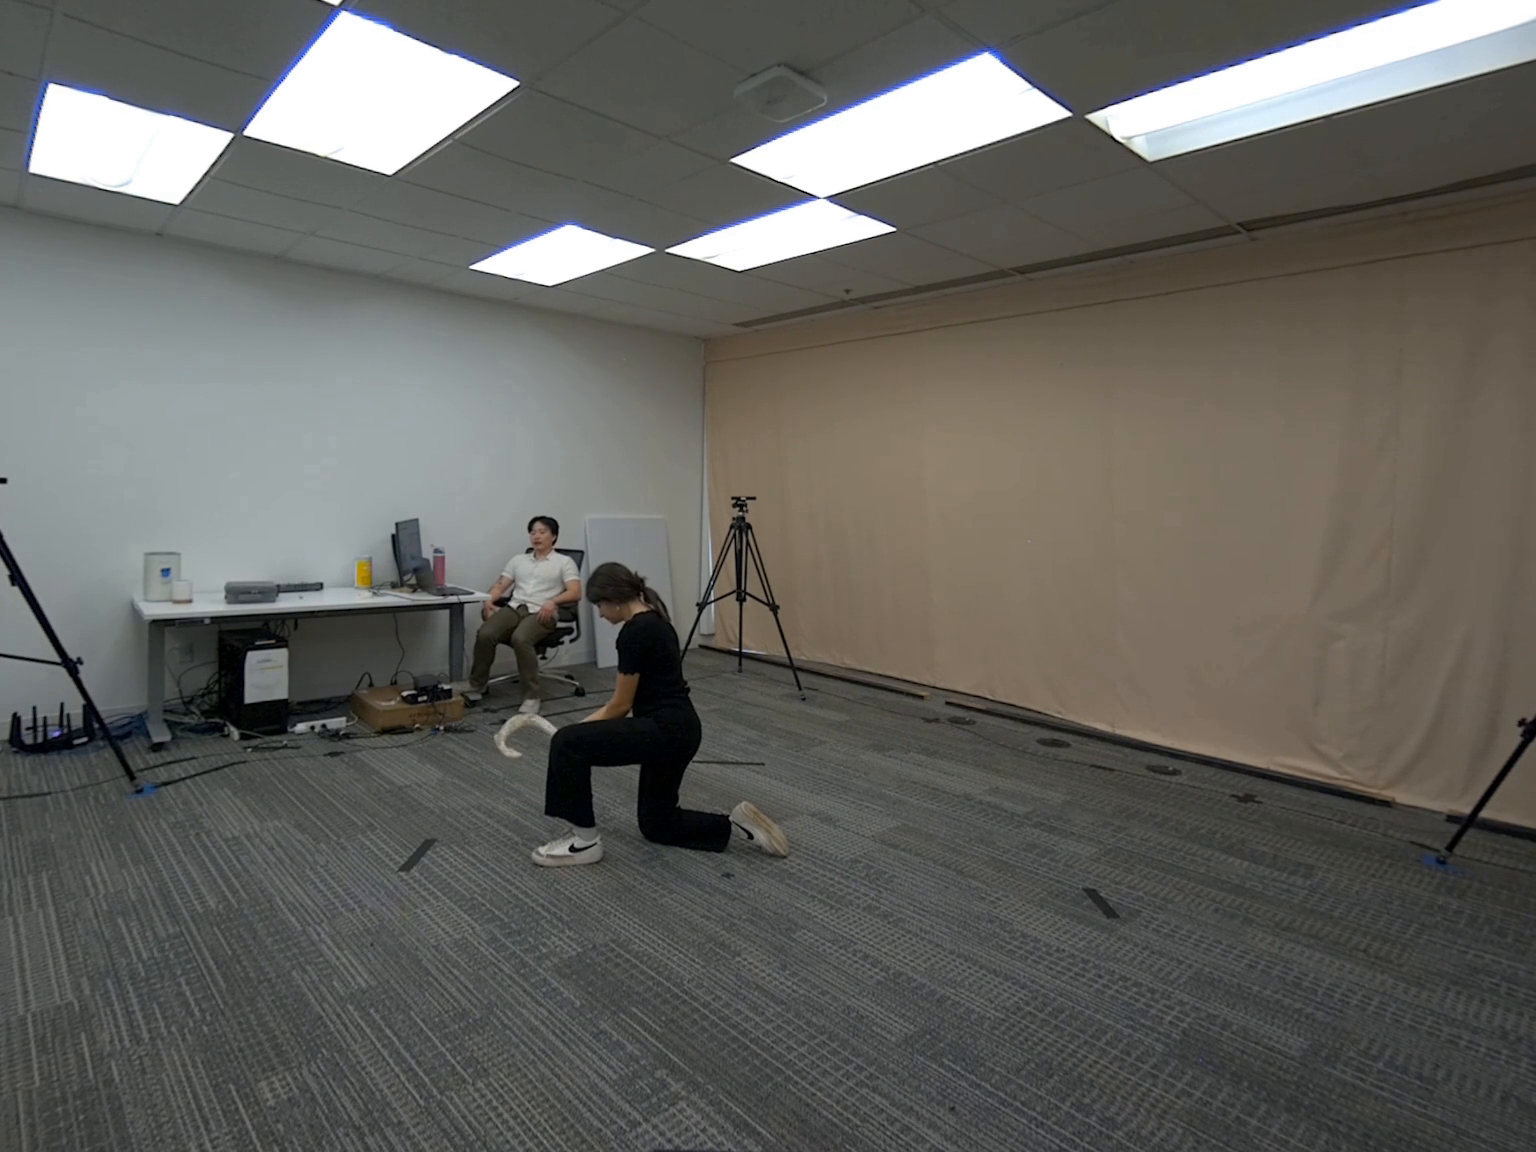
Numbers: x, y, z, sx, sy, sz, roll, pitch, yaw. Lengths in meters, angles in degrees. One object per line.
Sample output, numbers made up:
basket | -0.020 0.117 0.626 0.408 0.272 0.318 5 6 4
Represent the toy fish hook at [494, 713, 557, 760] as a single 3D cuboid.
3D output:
toy fish hook | -0.926 0.707 3.475 0.518 0.047 0.226 9 48 28
